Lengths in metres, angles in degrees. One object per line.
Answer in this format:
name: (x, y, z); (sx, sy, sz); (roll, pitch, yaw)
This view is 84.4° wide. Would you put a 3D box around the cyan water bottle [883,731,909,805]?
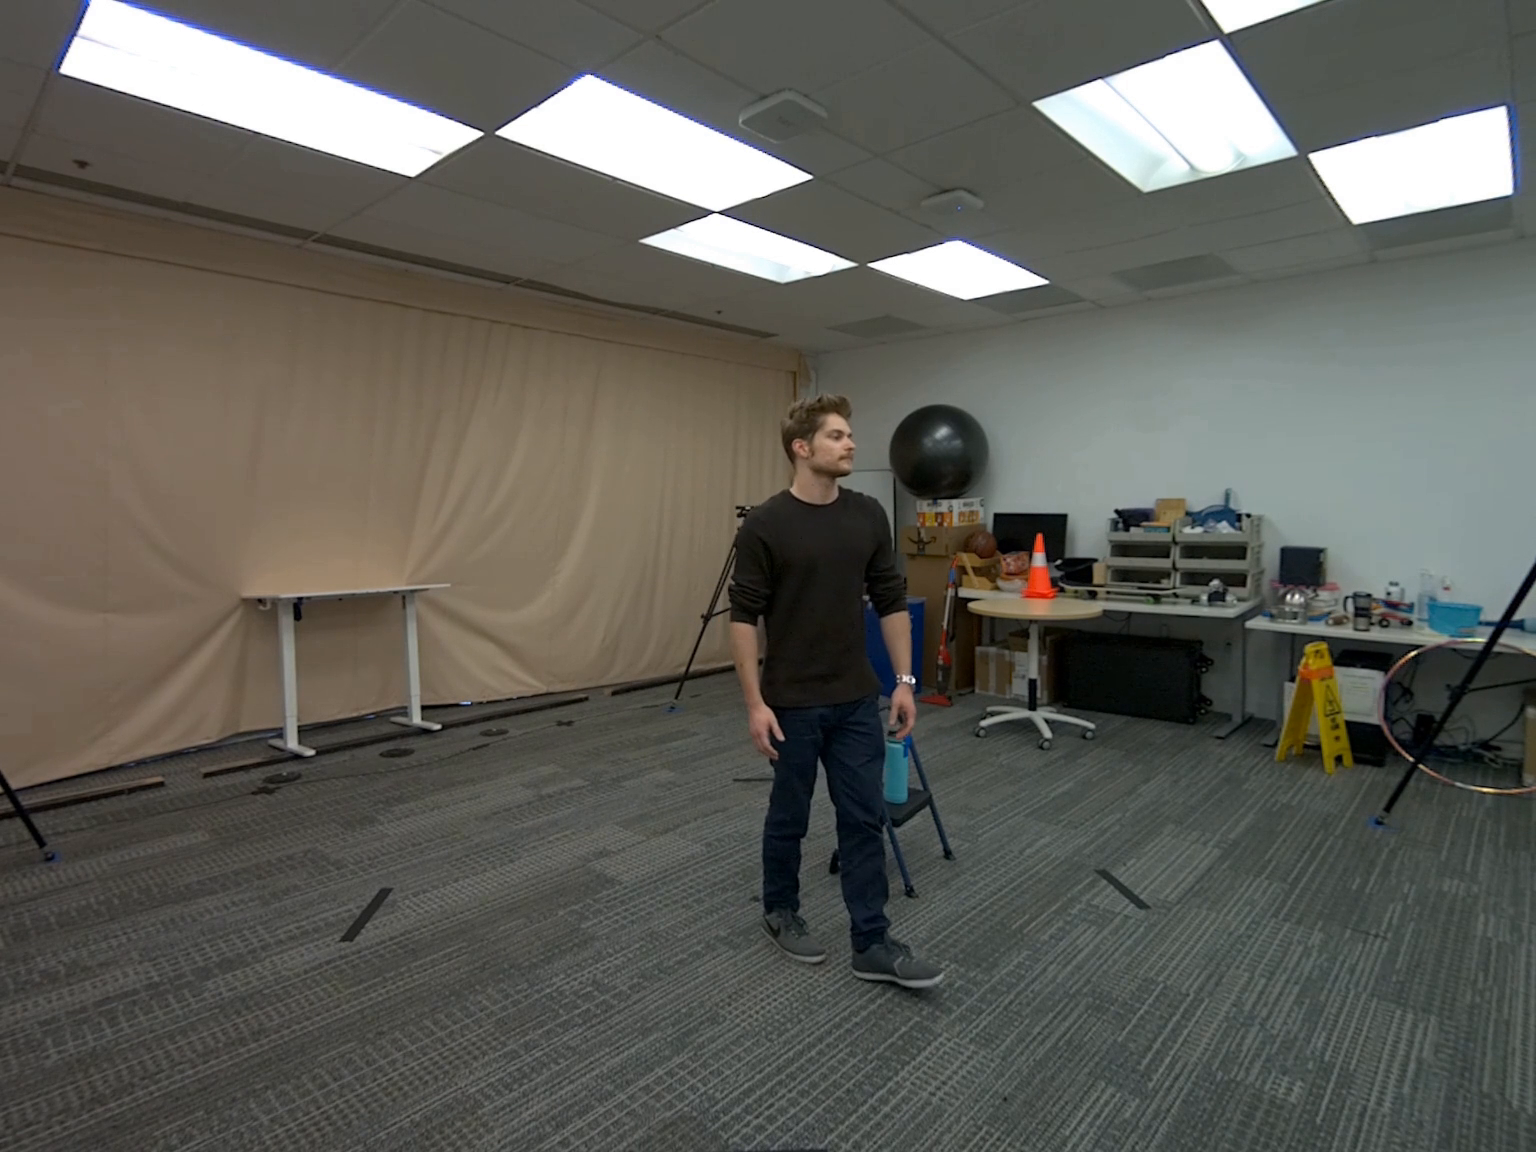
cyan water bottle: (0.500, 0.719, 3.234); (0.092, 0.283, 0.092); (1, 3, -2)
